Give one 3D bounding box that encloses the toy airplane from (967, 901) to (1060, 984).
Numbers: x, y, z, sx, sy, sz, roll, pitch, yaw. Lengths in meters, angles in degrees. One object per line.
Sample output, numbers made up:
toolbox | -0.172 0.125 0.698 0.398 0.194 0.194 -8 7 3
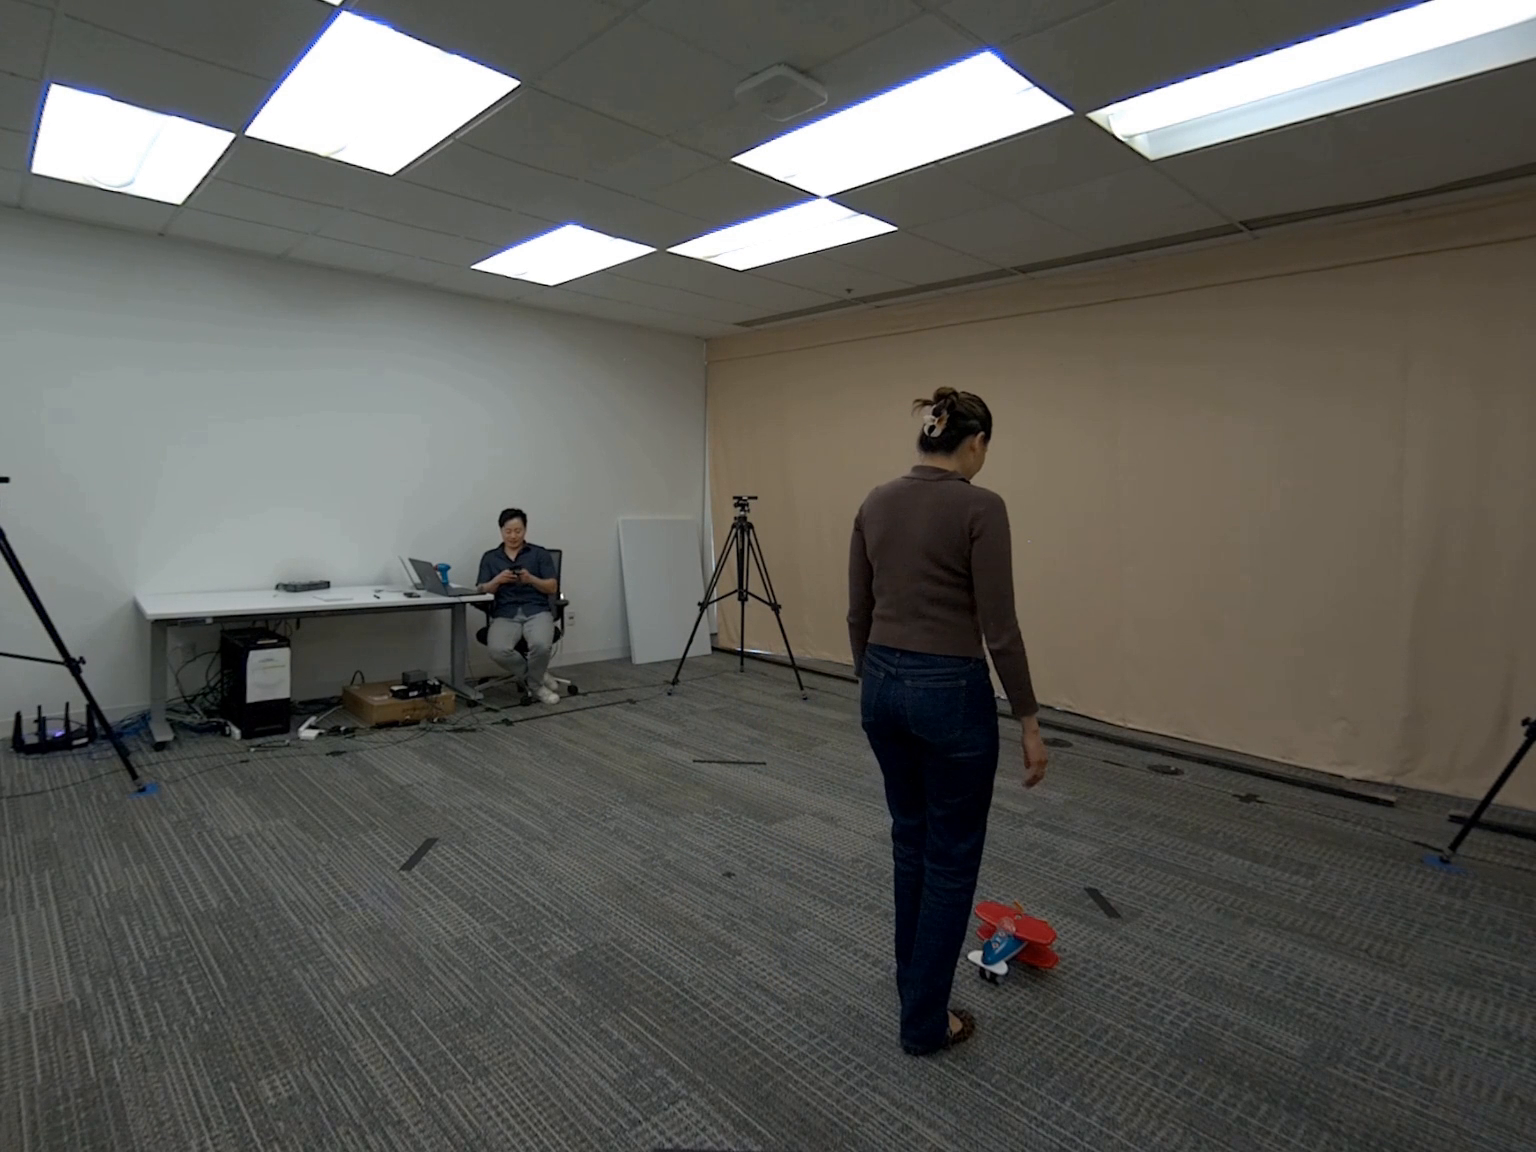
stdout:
toy airplane | 0.729 1.108 2.503 0.255 0.156 0.255 4 4 20
